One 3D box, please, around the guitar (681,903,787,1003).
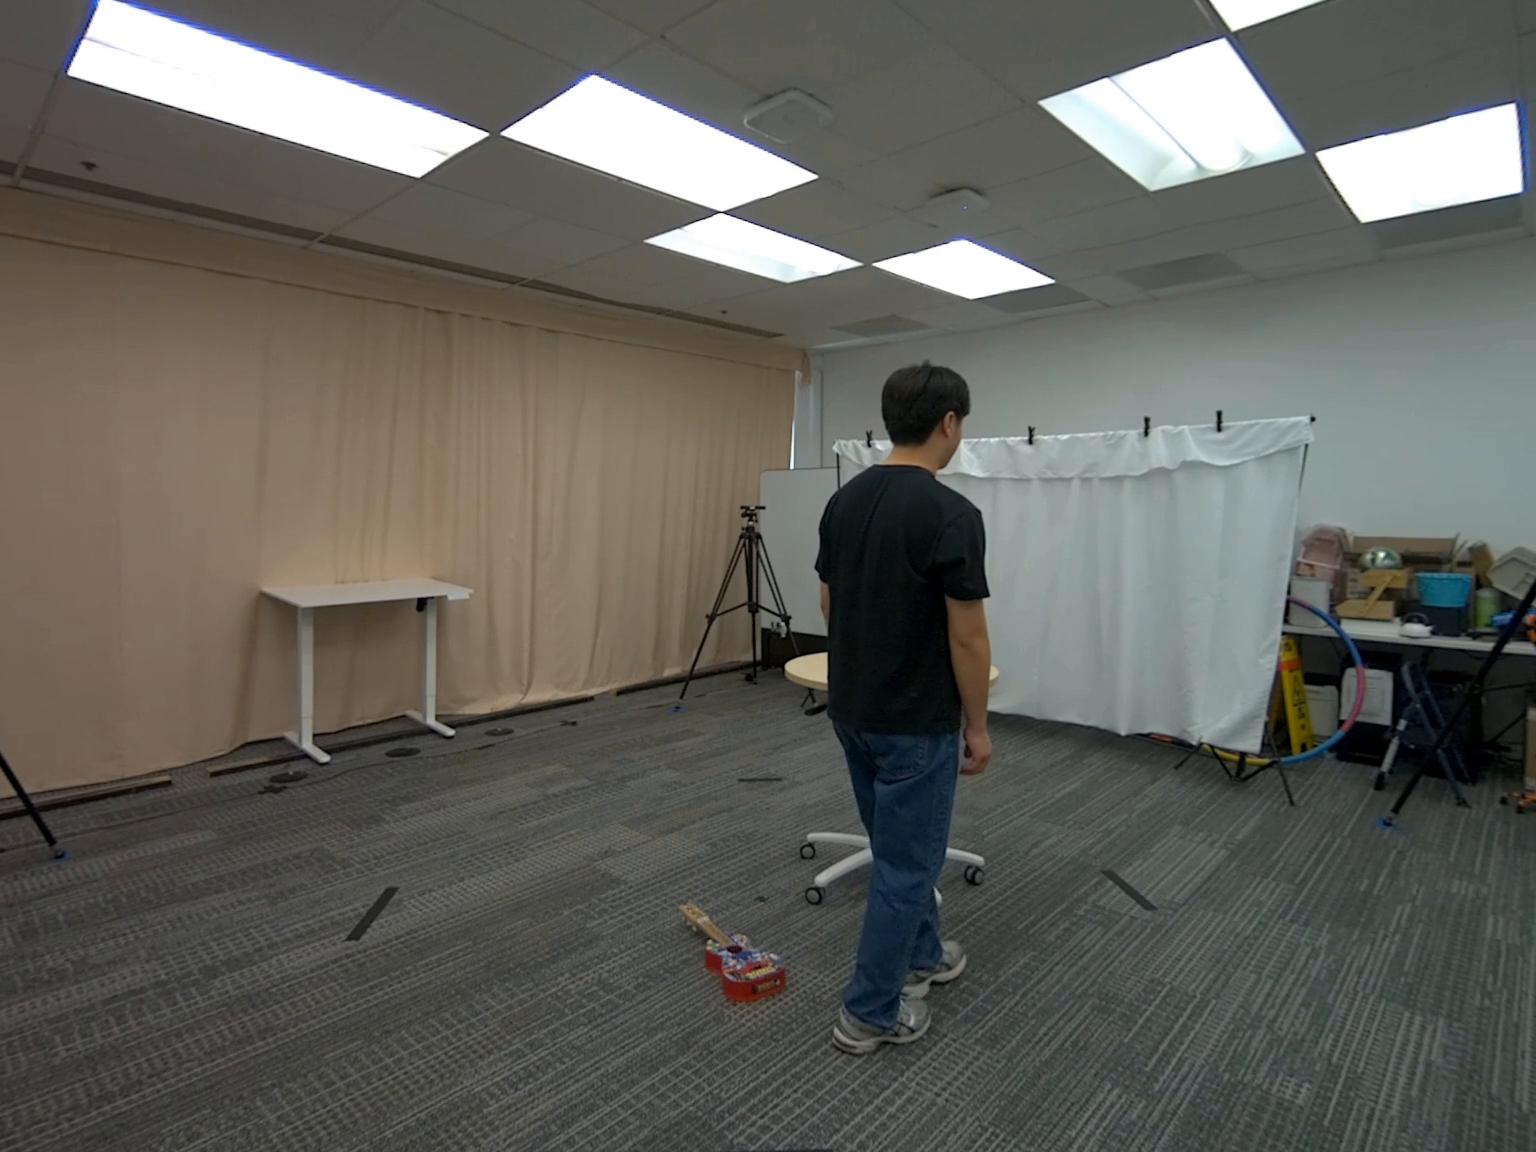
[{"bbox_3d":[-0.112,1.143,2.604,0.189,0.070,0.510,-3,6,-24],"label":"guitar"}]
